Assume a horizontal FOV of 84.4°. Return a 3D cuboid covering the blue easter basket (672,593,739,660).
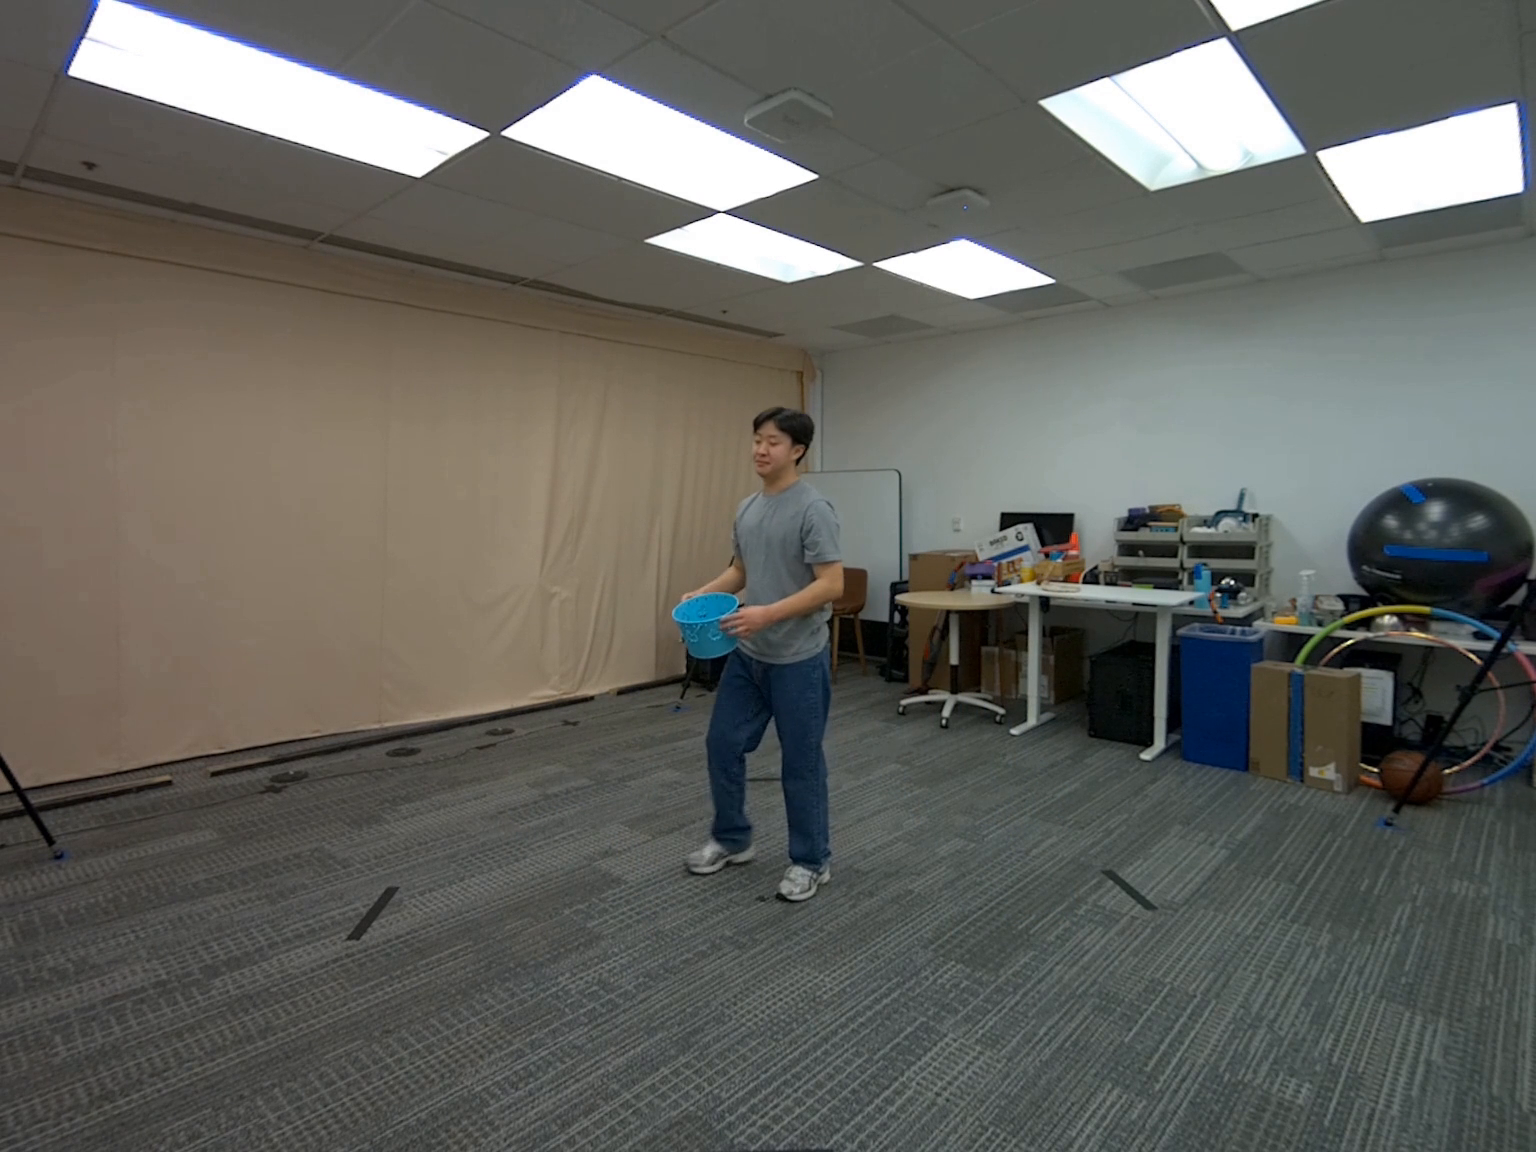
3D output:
[{"bbox_3d":[-0.199,0.181,2.959,0.244,0.153,0.247,-11,21,2],"label":"blue easter basket"}]
